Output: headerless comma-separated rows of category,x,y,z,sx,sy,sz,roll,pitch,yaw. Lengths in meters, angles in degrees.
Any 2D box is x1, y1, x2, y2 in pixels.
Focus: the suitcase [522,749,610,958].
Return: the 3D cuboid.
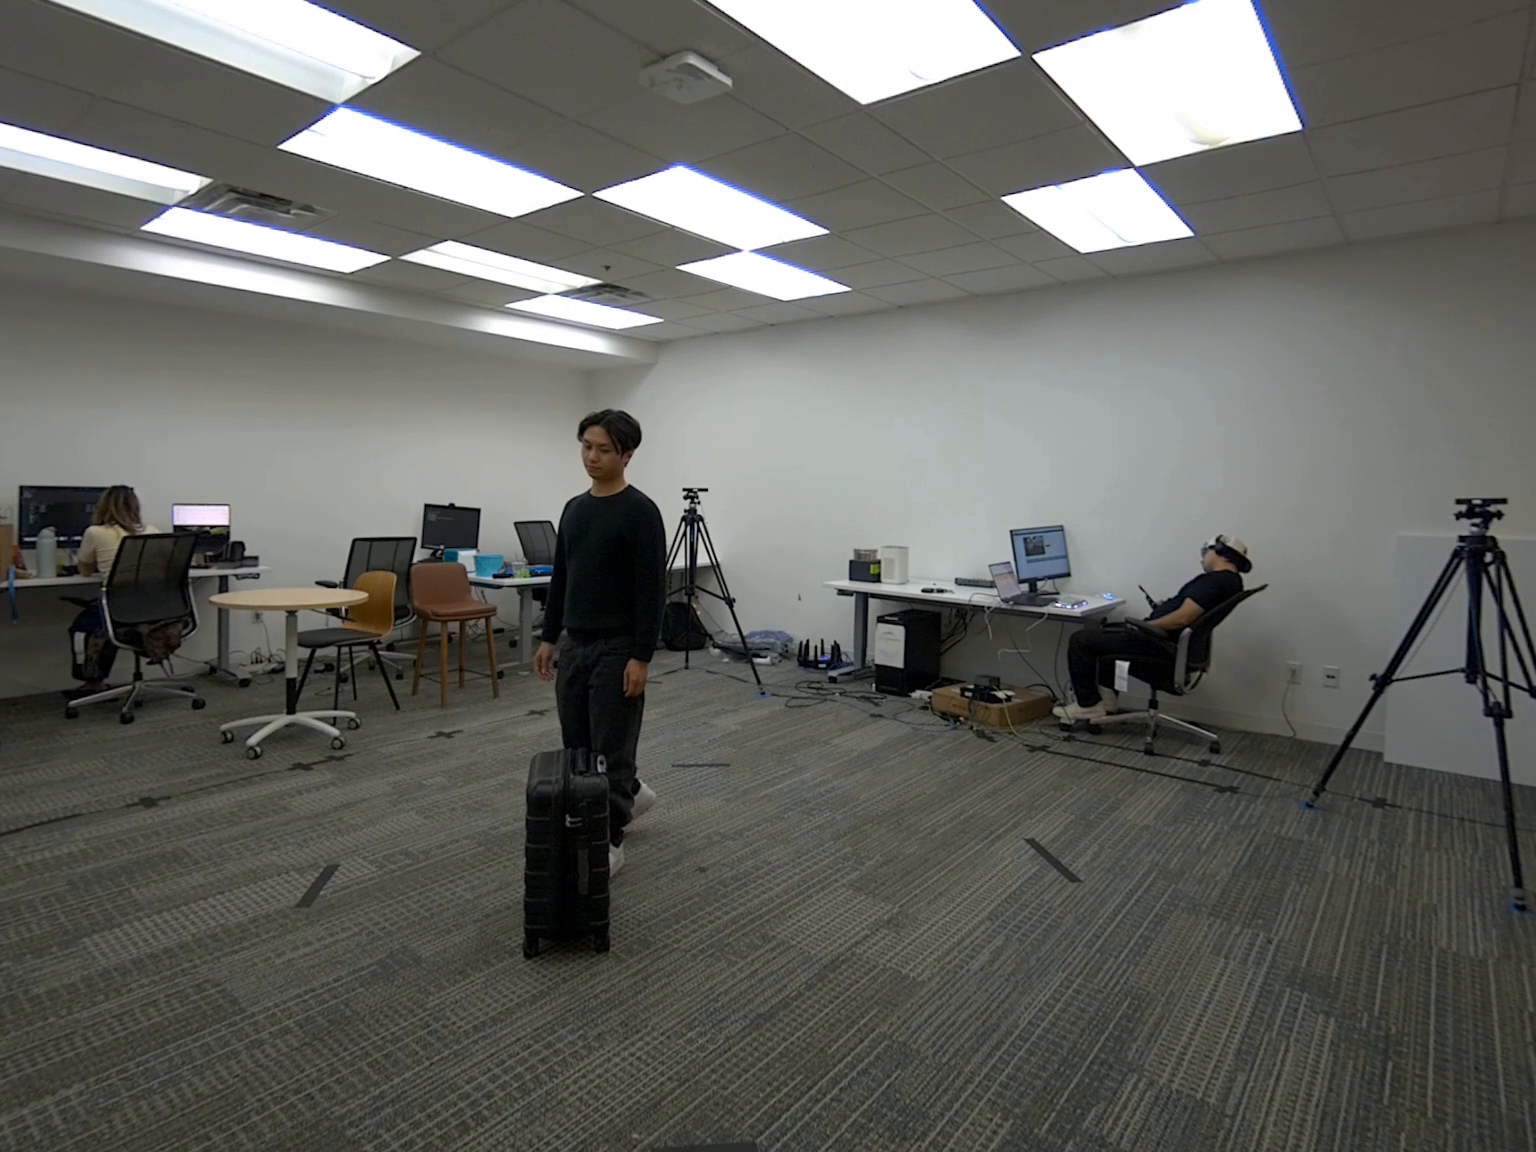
suitcase,-0.640,0.838,2.637,0.246,0.547,0.381,0,5,-11
